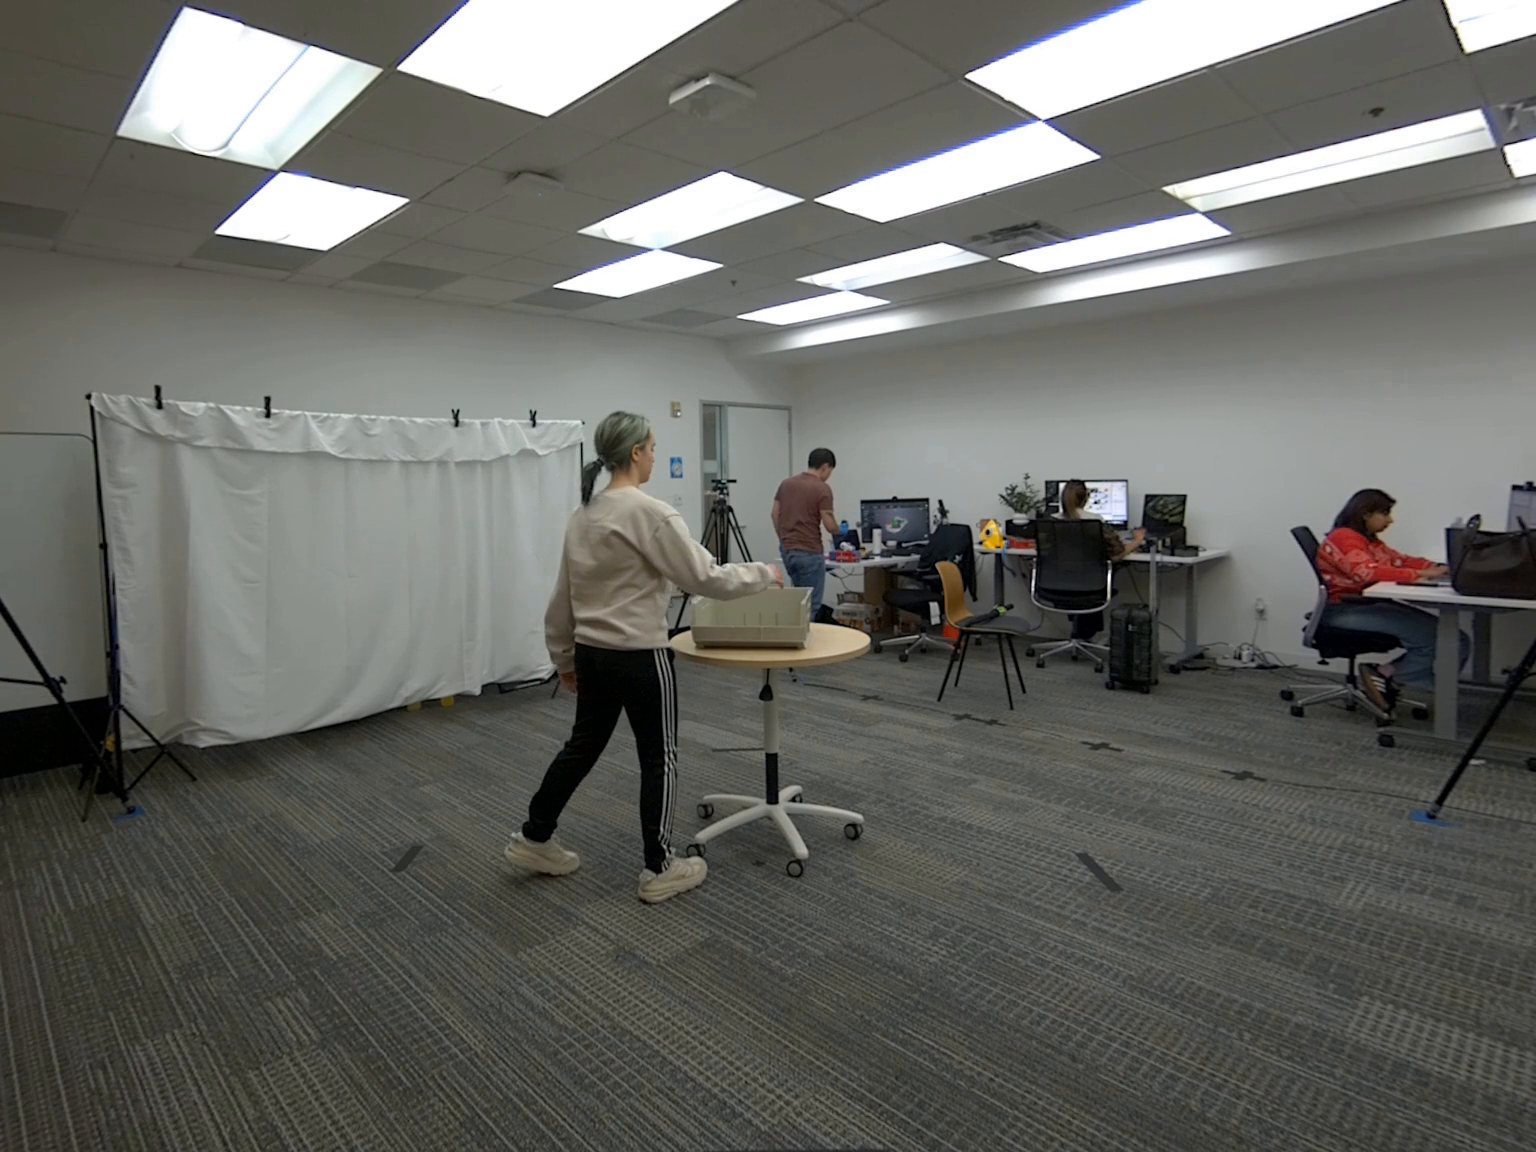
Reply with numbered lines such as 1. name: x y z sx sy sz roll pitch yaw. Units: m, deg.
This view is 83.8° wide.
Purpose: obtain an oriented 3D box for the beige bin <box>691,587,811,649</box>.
1. beige bin: -0.052 0.157 3.238 0.426 0.188 0.375 -1 4 9
